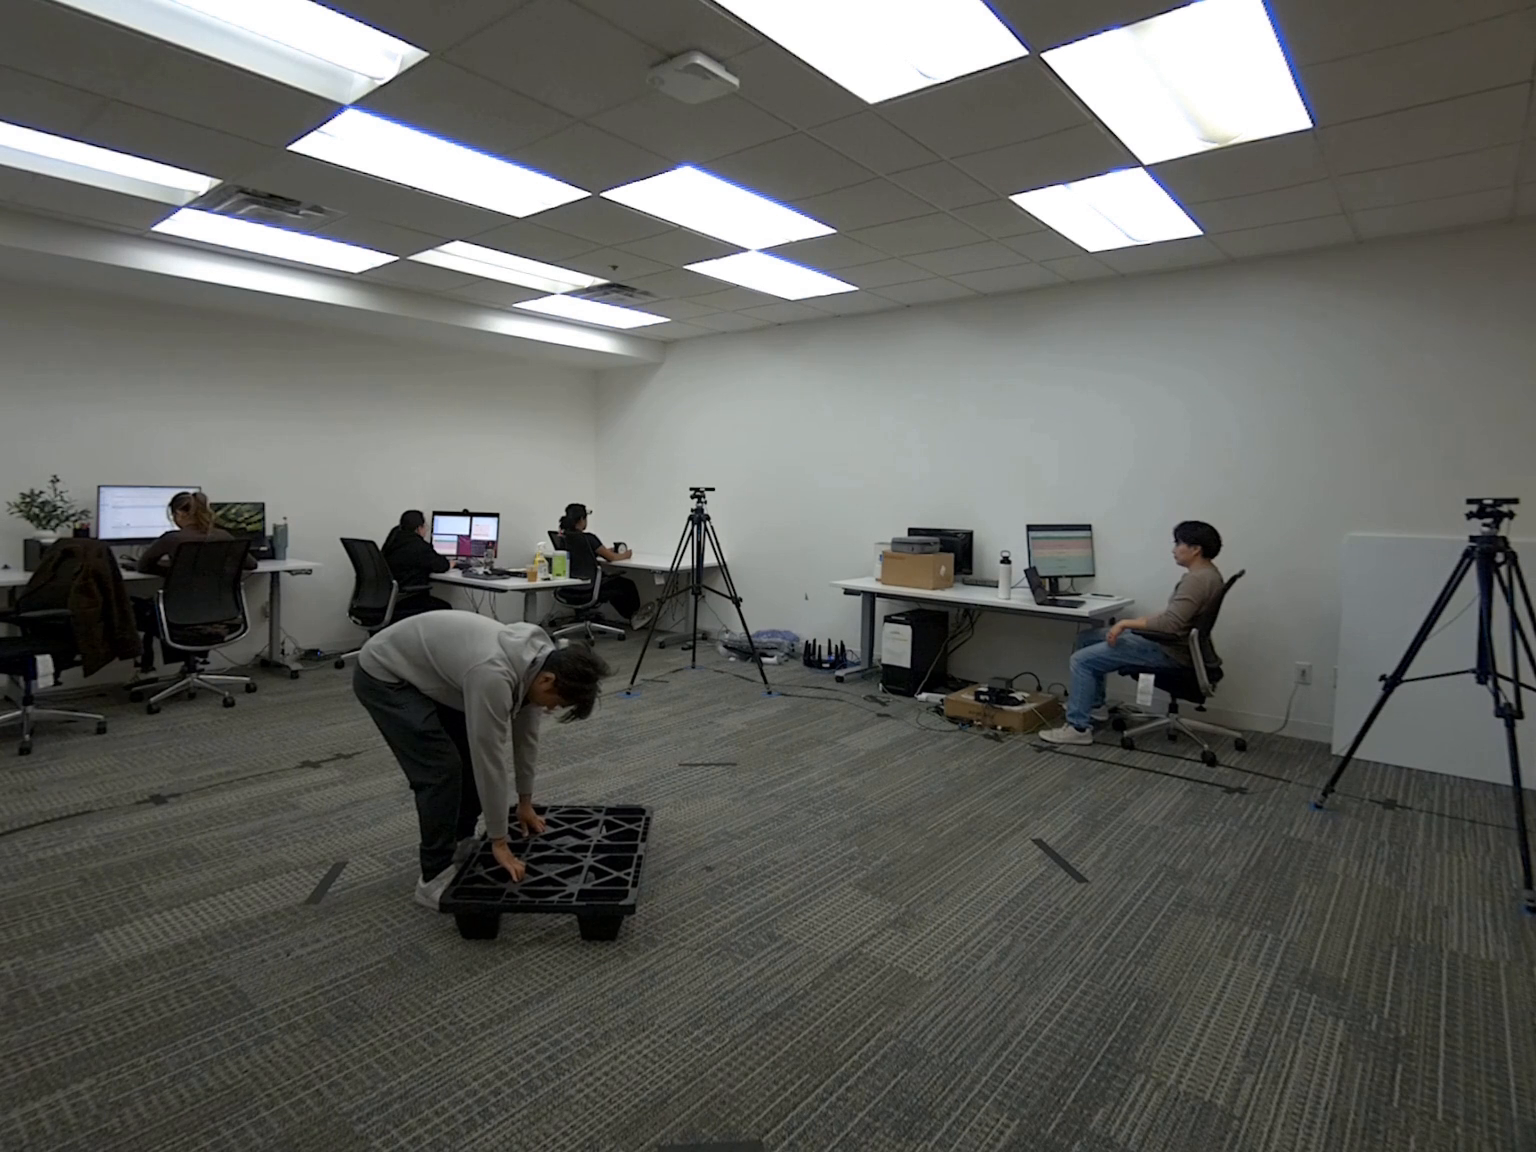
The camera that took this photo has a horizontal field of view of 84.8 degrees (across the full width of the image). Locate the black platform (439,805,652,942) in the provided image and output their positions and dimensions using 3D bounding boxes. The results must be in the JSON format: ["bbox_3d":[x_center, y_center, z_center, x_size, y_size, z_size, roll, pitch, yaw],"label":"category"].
[{"bbox_3d":[-0.736,1.003,2.956,0.604,0.143,0.810,0,6,-2],"label":"black platform"}]
